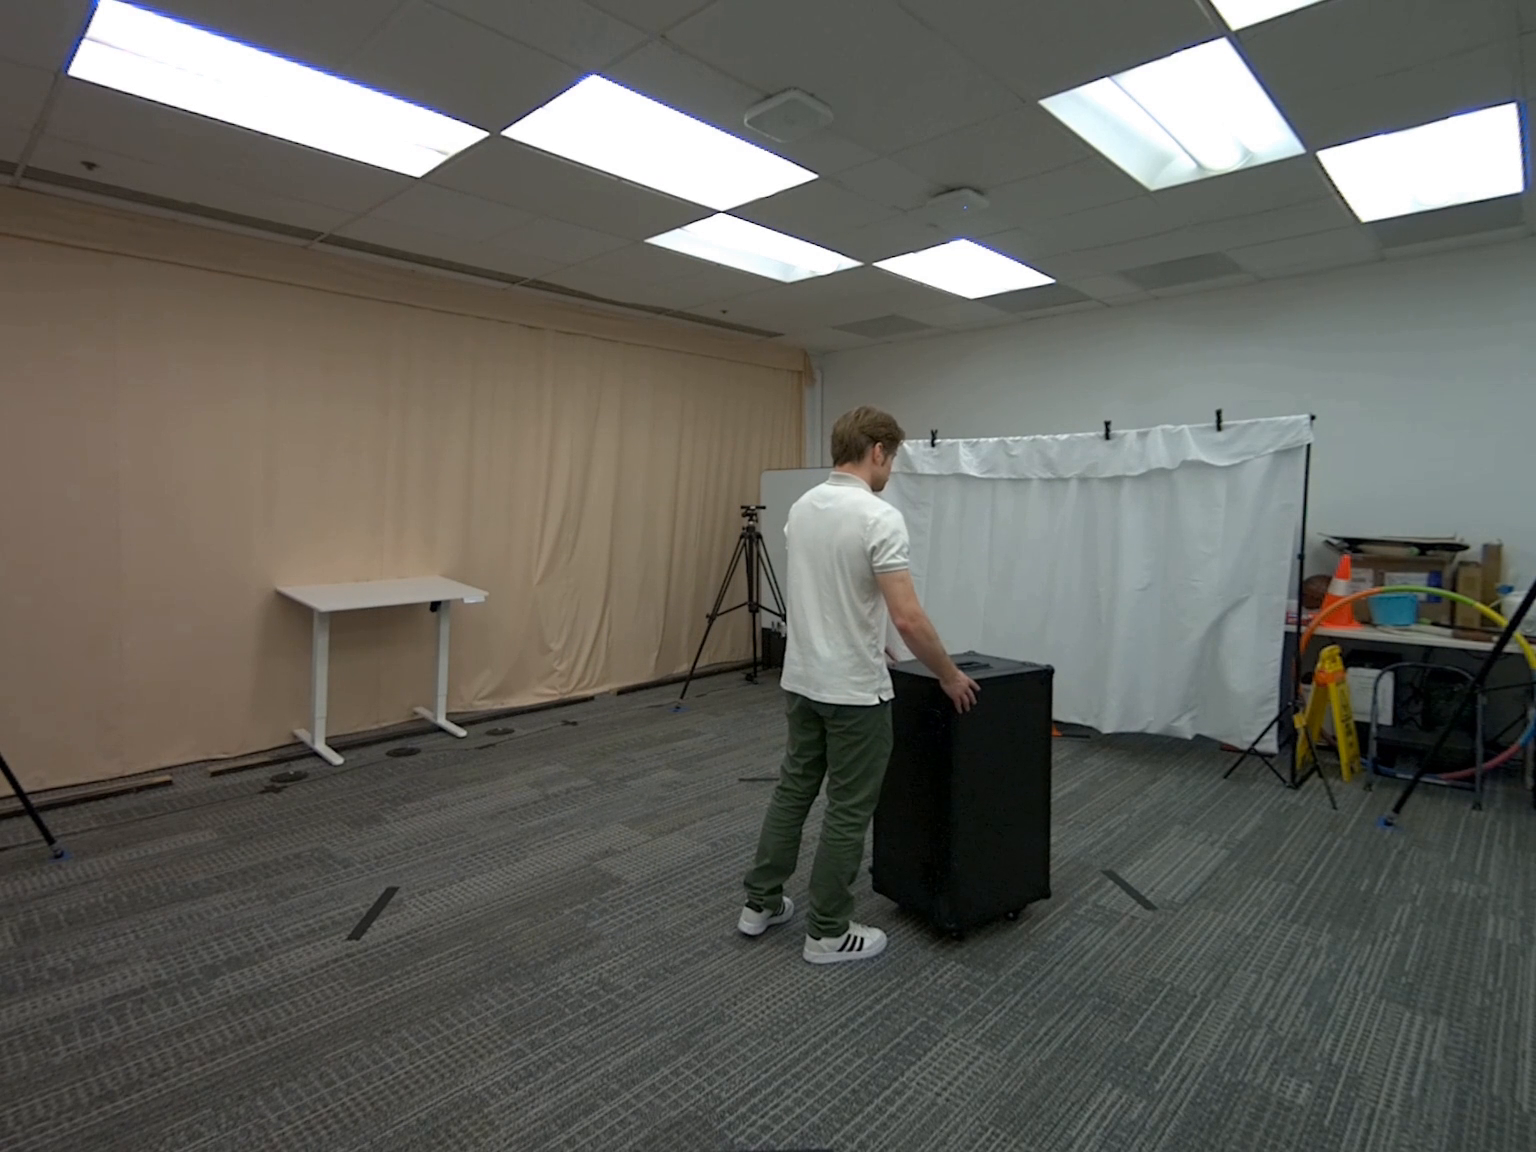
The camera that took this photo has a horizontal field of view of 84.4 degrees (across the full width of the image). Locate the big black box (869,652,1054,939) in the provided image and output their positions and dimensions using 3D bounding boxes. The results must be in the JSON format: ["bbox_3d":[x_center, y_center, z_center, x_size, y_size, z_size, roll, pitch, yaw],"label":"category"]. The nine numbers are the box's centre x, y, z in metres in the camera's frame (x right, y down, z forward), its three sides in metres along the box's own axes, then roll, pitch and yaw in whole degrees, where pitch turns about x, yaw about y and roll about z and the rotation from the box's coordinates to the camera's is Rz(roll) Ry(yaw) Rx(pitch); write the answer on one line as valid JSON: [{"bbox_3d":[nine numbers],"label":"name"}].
[{"bbox_3d":[0.654,0.732,2.850,0.508,0.867,0.397,-2,3,-33],"label":"big black box"}]
